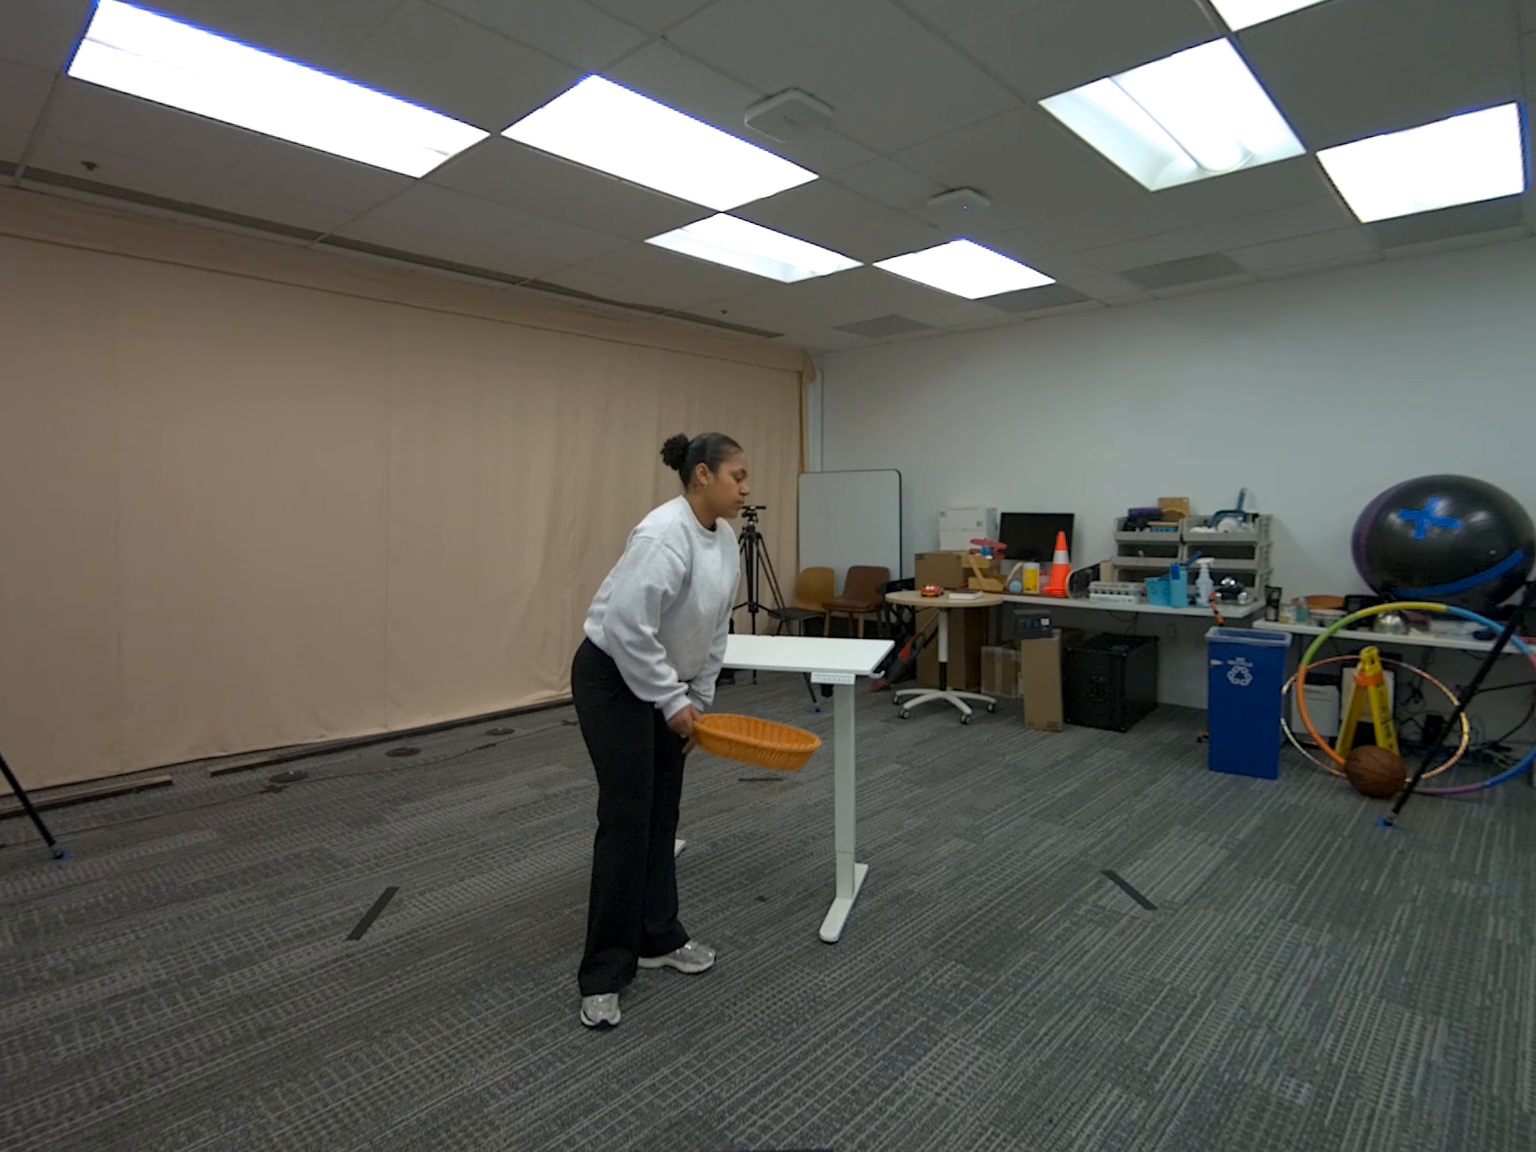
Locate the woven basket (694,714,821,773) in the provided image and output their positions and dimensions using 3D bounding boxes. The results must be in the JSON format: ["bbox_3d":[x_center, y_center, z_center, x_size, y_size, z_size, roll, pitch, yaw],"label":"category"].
[{"bbox_3d":[-0.048,0.445,2.214,0.361,0.073,0.245,9,4,30],"label":"woven basket"}]
